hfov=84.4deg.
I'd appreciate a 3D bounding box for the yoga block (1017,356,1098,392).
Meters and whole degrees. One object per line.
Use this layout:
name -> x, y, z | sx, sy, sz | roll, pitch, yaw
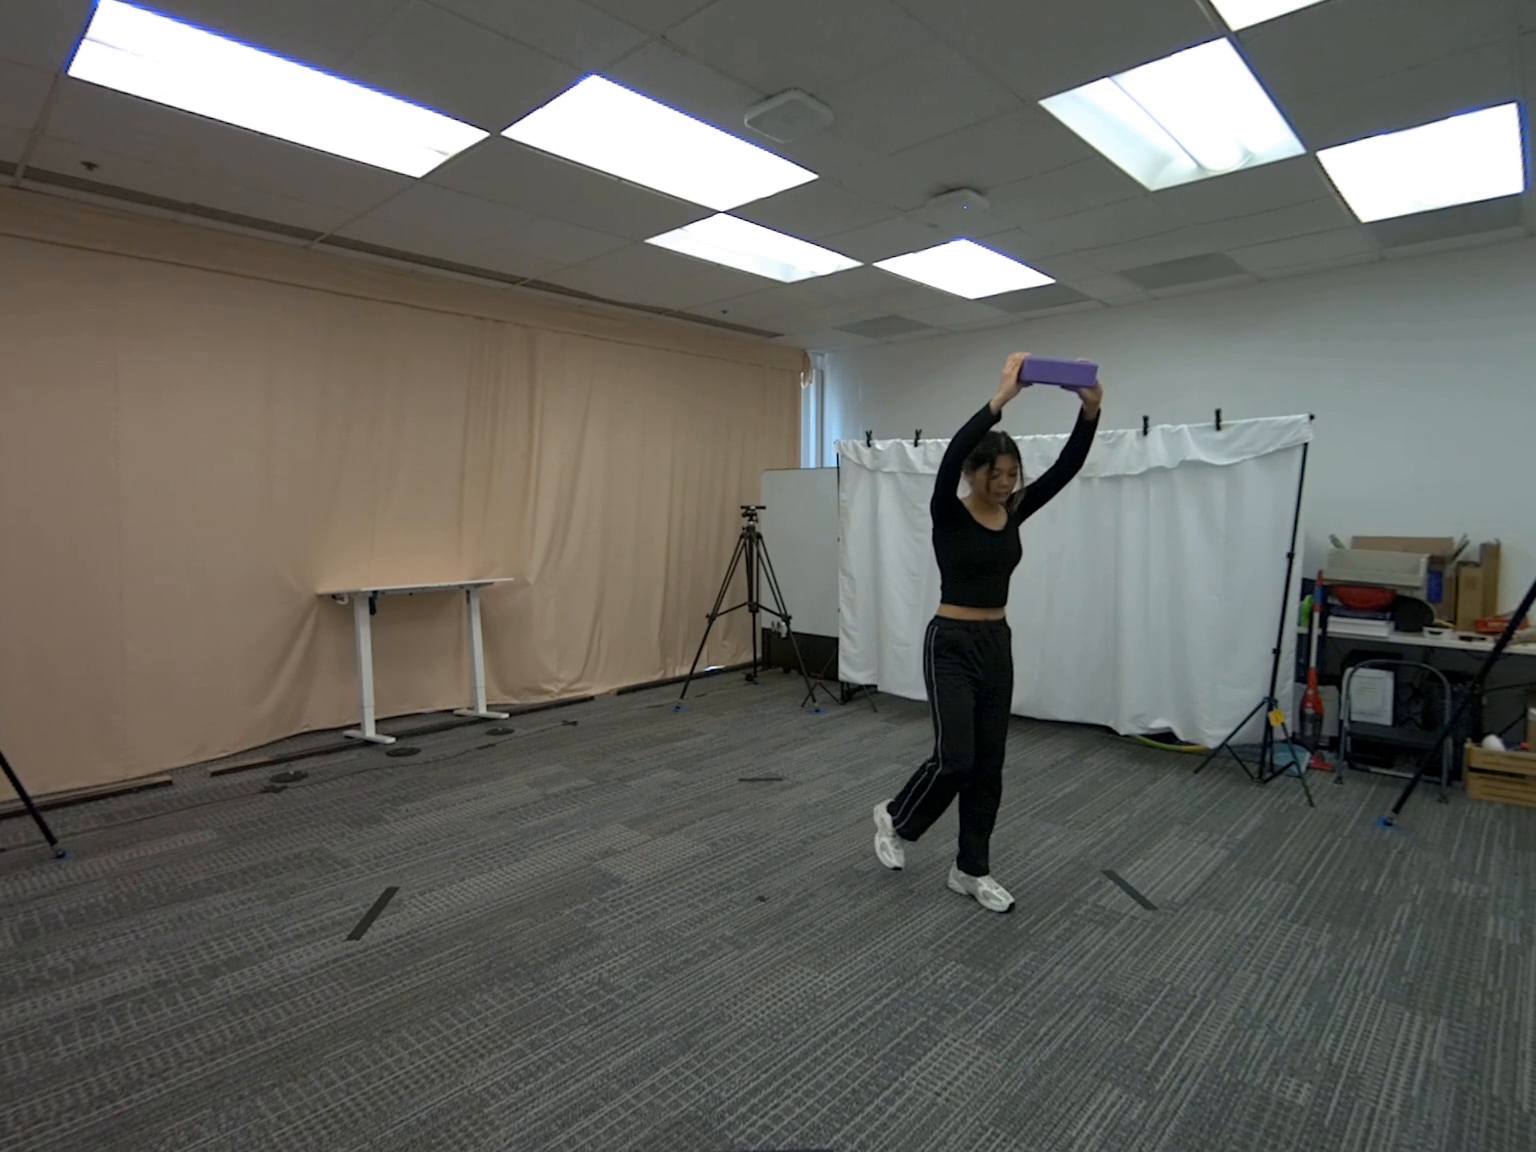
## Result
yoga block -> 0.879, -0.625, 2.578 | 0.227, 0.076, 0.152 | 3, 15, -10
